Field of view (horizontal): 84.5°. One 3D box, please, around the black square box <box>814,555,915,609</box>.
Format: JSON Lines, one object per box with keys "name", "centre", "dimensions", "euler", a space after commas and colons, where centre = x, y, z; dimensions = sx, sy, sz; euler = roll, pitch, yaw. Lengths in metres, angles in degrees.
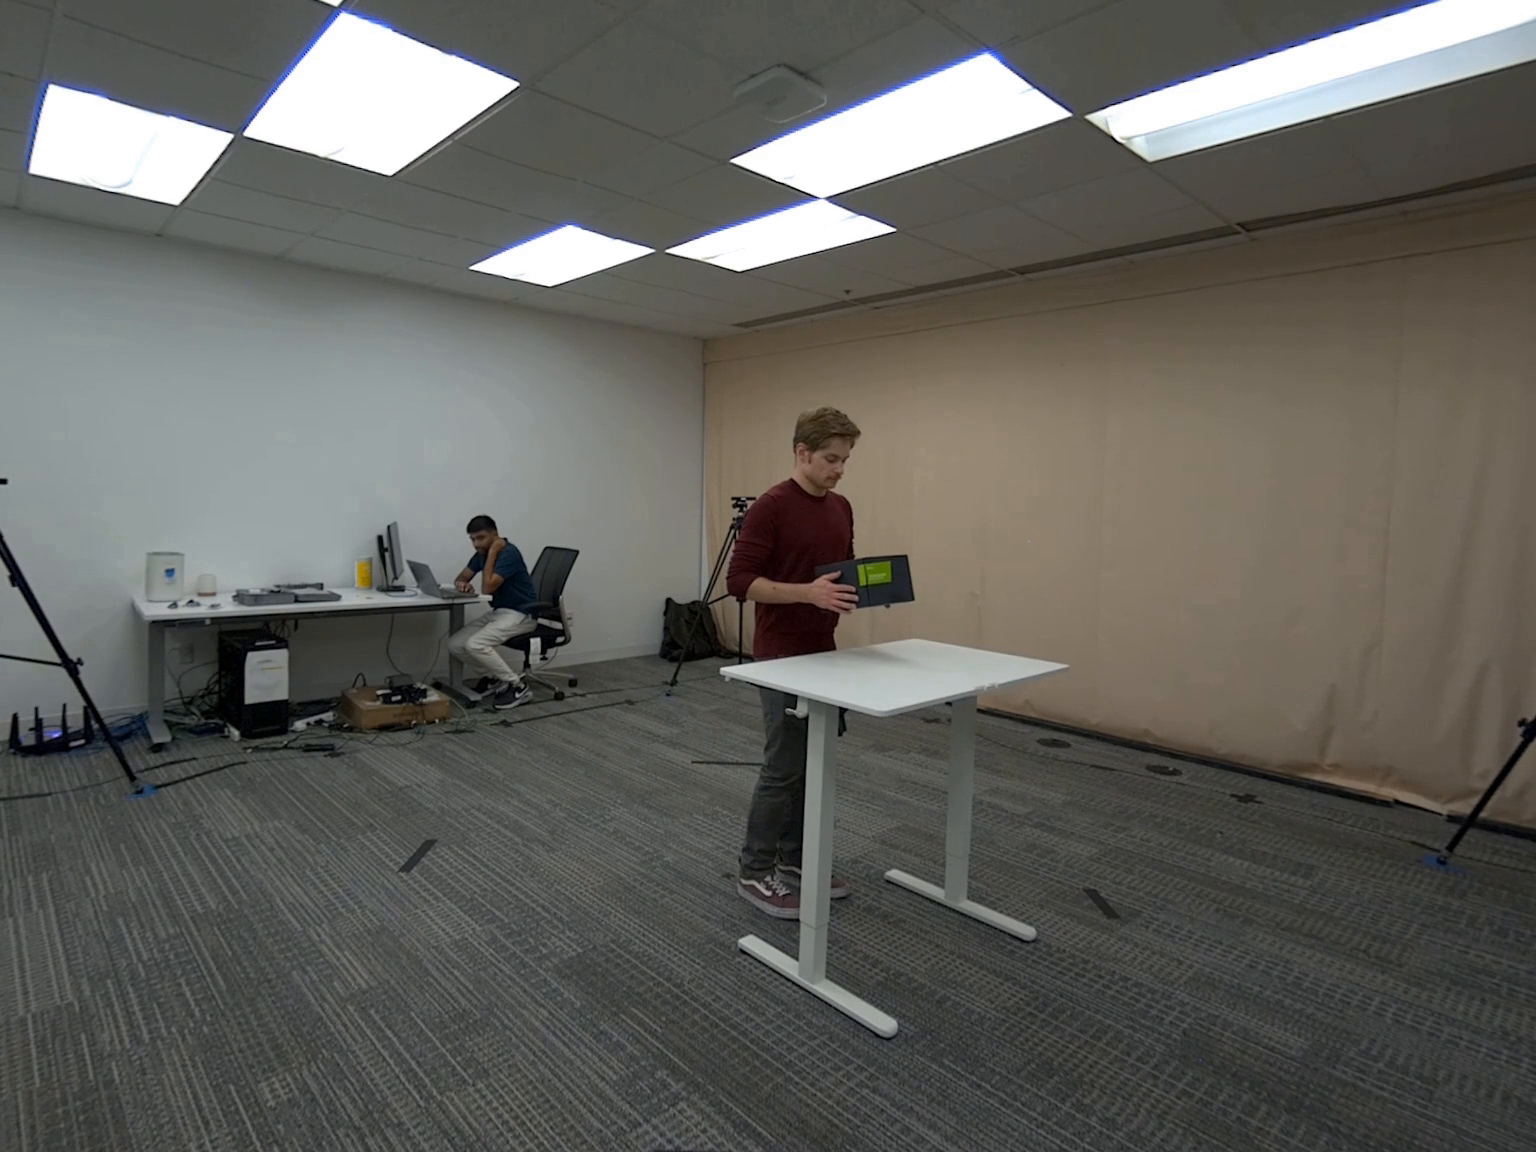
{"name": "black square box", "centre": [0.307, 0.022, 2.765], "dimensions": [0.223, 0.156, 0.221], "euler": [-3, -5, -43]}
